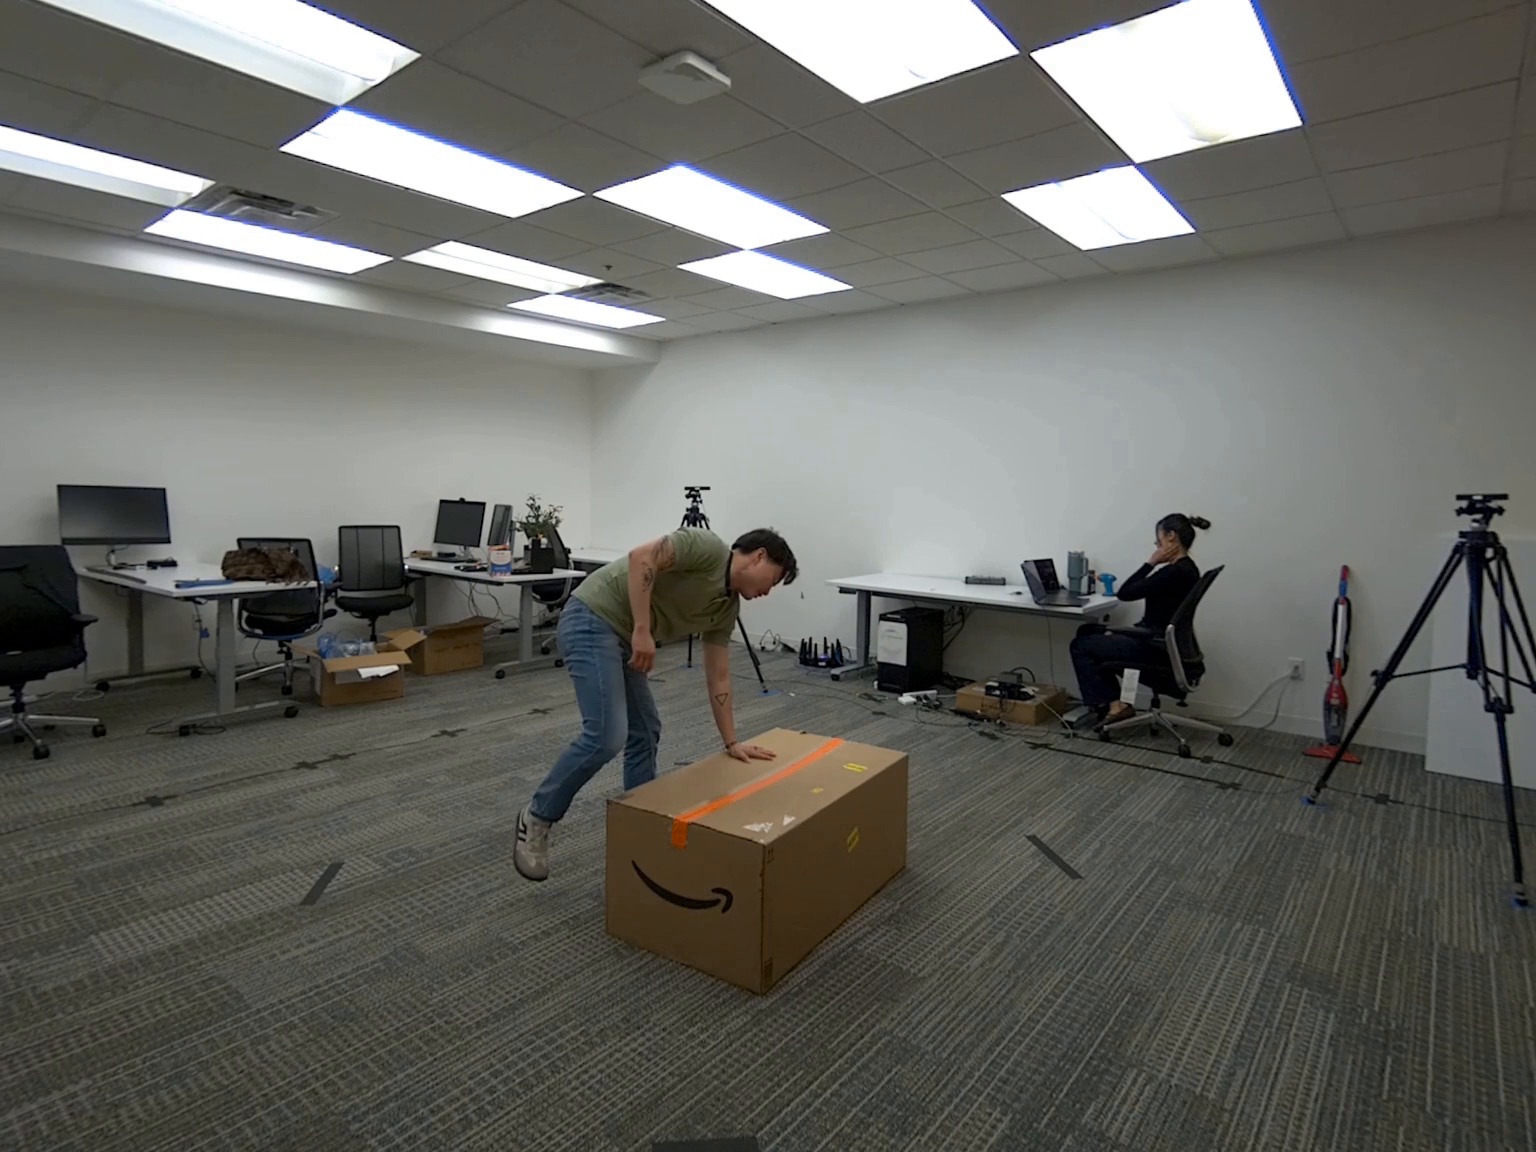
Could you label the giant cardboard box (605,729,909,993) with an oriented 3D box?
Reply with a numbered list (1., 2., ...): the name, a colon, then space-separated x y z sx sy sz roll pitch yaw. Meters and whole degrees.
1. giant cardboard box: -0.001 0.878 2.887 0.595 0.425 0.998 4 6 32
